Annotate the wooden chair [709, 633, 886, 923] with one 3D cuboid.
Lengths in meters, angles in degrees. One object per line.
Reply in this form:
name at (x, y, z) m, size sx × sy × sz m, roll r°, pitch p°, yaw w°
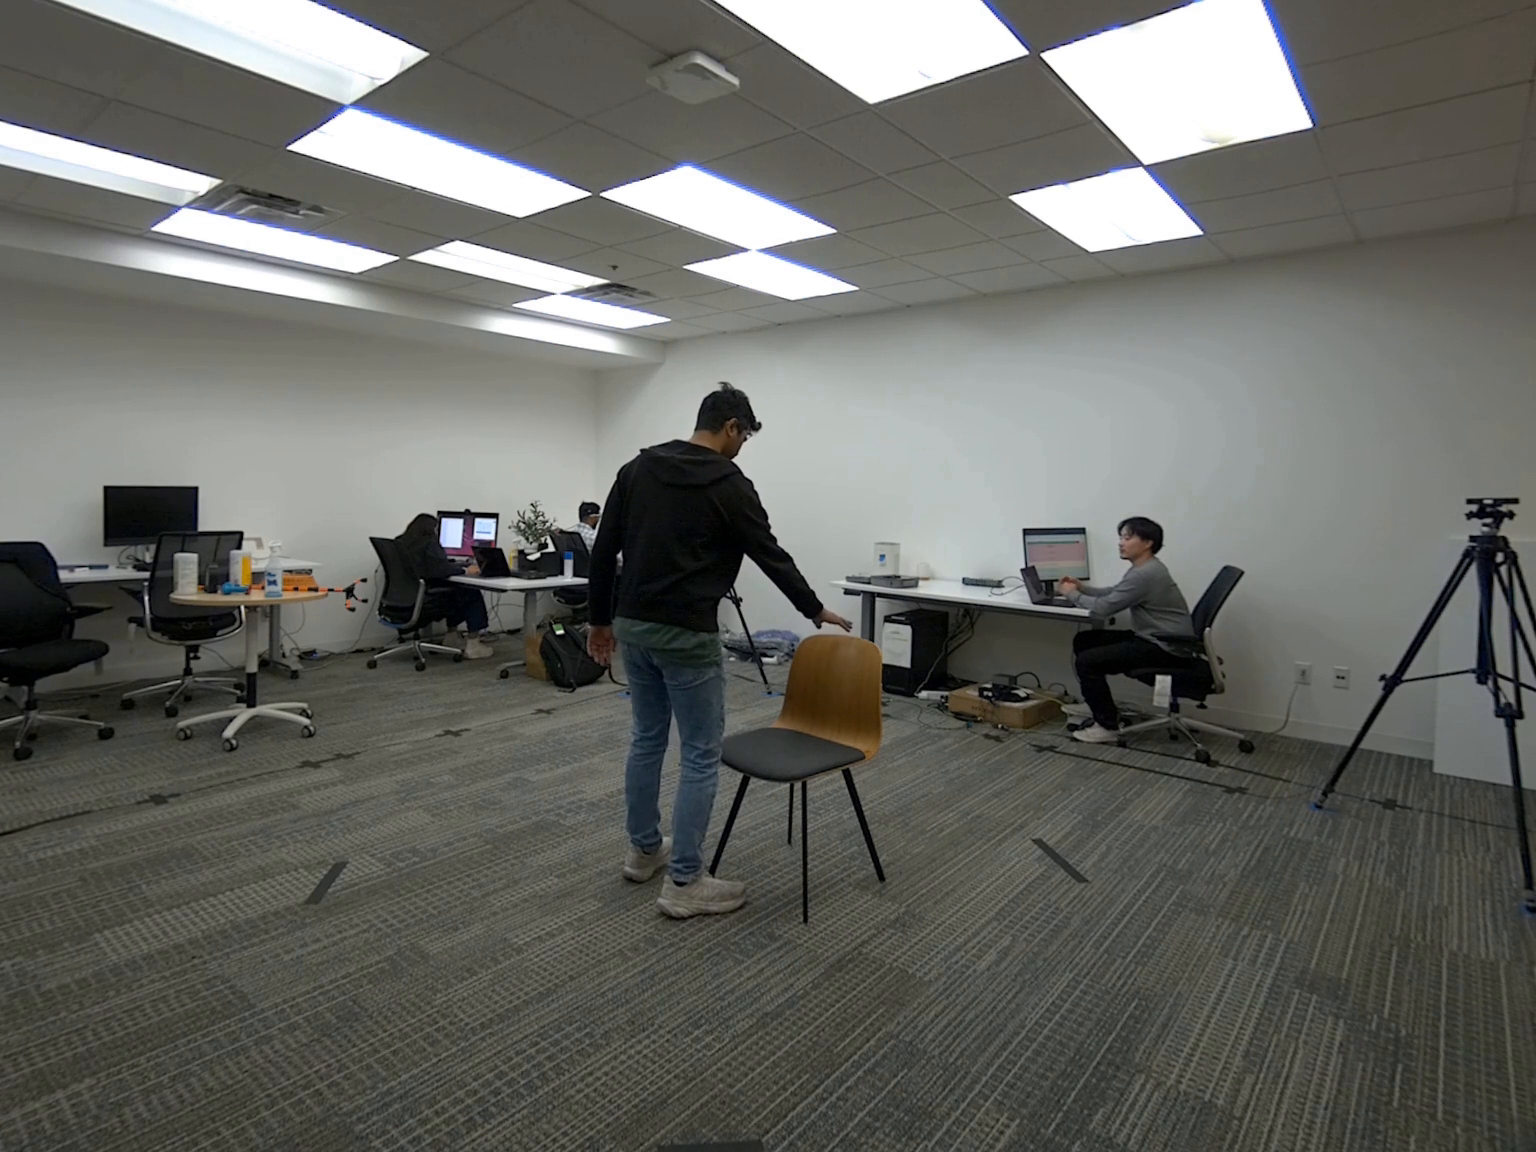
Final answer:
wooden chair at (0.096, 0.655, 3.011) m, size 0.494 × 0.877 × 0.506 m, roll 5°, pitch 1°, yaw 43°
